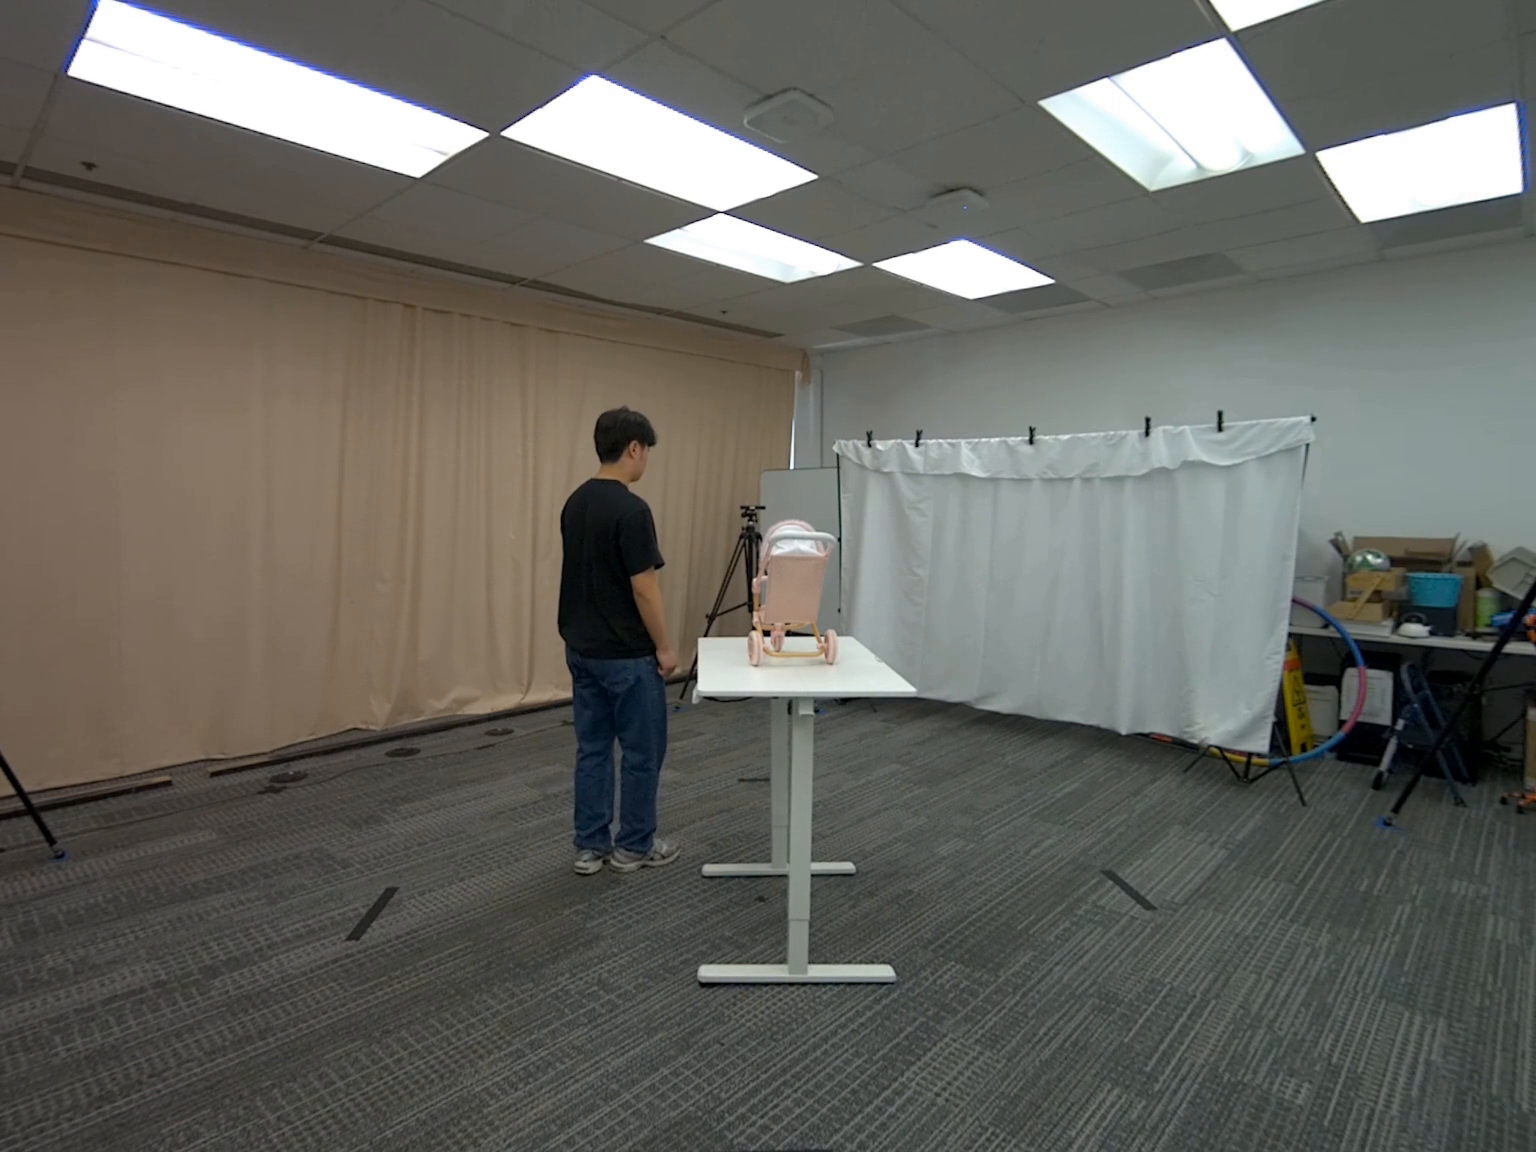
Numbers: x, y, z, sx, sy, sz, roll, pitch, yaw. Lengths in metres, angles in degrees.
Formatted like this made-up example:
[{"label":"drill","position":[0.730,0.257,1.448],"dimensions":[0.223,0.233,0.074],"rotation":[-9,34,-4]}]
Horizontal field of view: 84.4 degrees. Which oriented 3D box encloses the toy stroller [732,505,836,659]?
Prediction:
[{"label":"toy stroller","position":[0.078,0.058,2.745],"dimensions":[0.280,0.529,0.347],"rotation":[0,19,-7]}]
